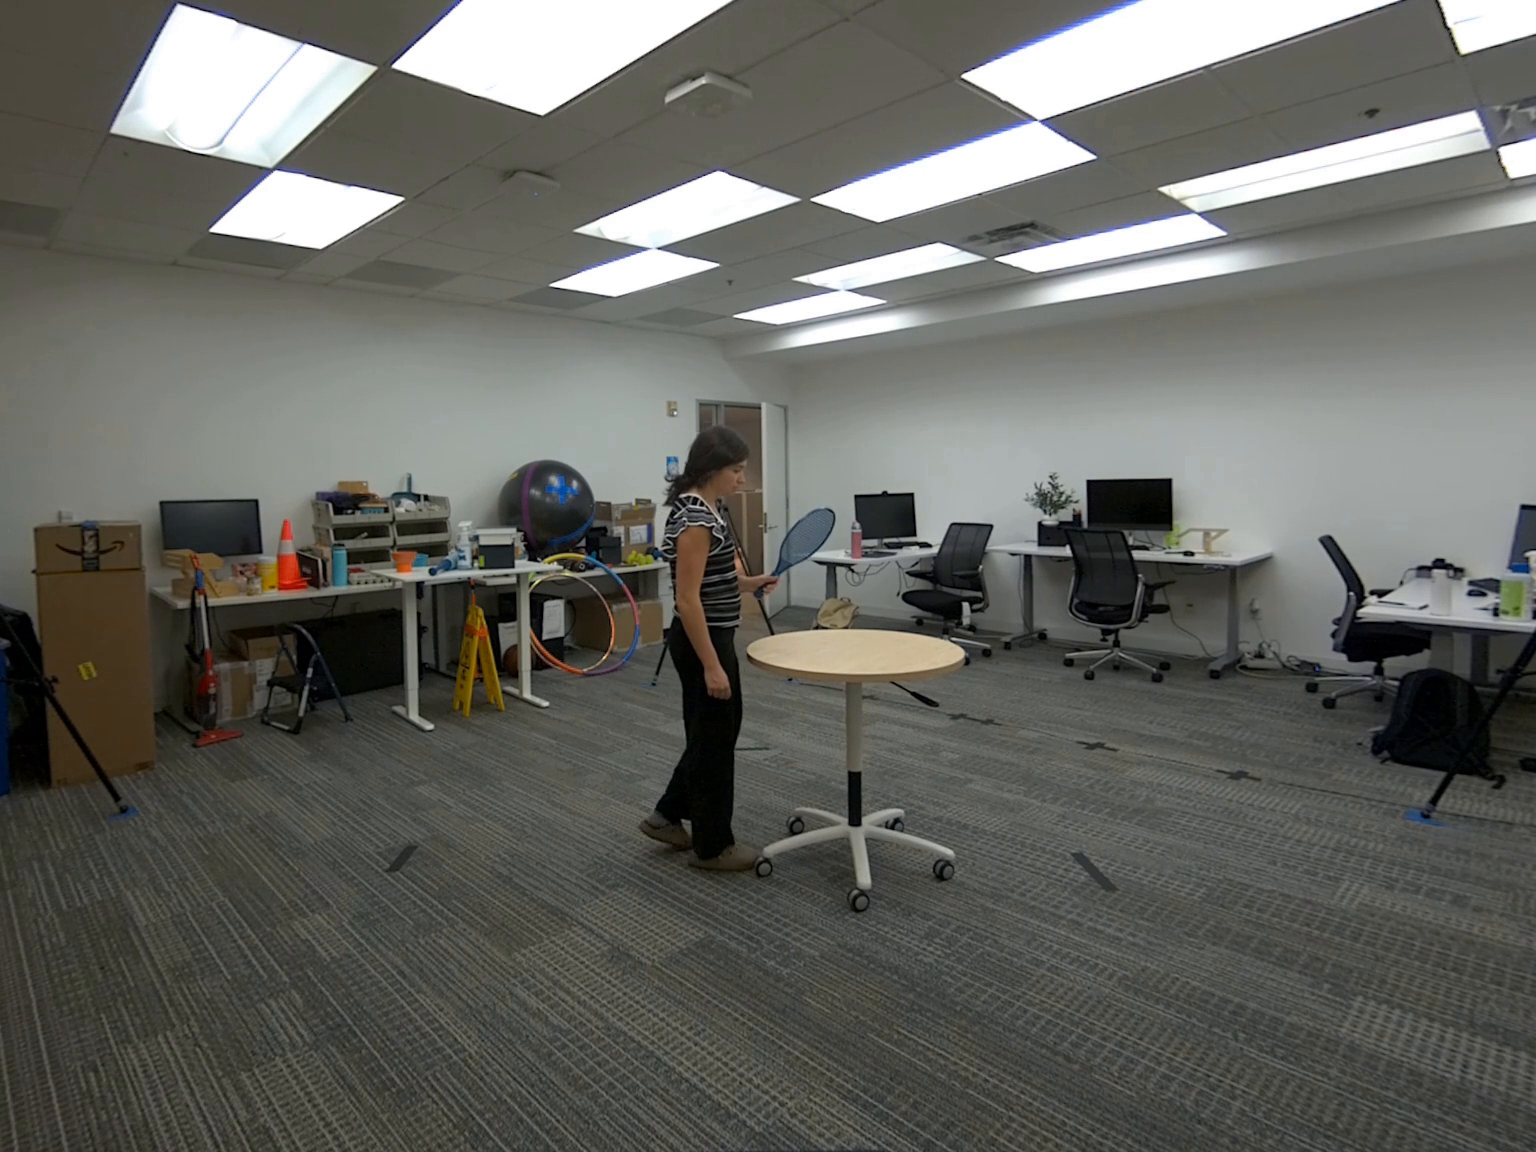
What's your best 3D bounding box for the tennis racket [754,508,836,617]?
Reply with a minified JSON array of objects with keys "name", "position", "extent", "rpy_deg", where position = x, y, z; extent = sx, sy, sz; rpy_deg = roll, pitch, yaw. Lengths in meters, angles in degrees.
[{"name":"tennis racket","position":[0.088,-0.080,3.143],"extent":[0.205,0.433,0.033],"rpy_deg":[33,12,-51]}]
